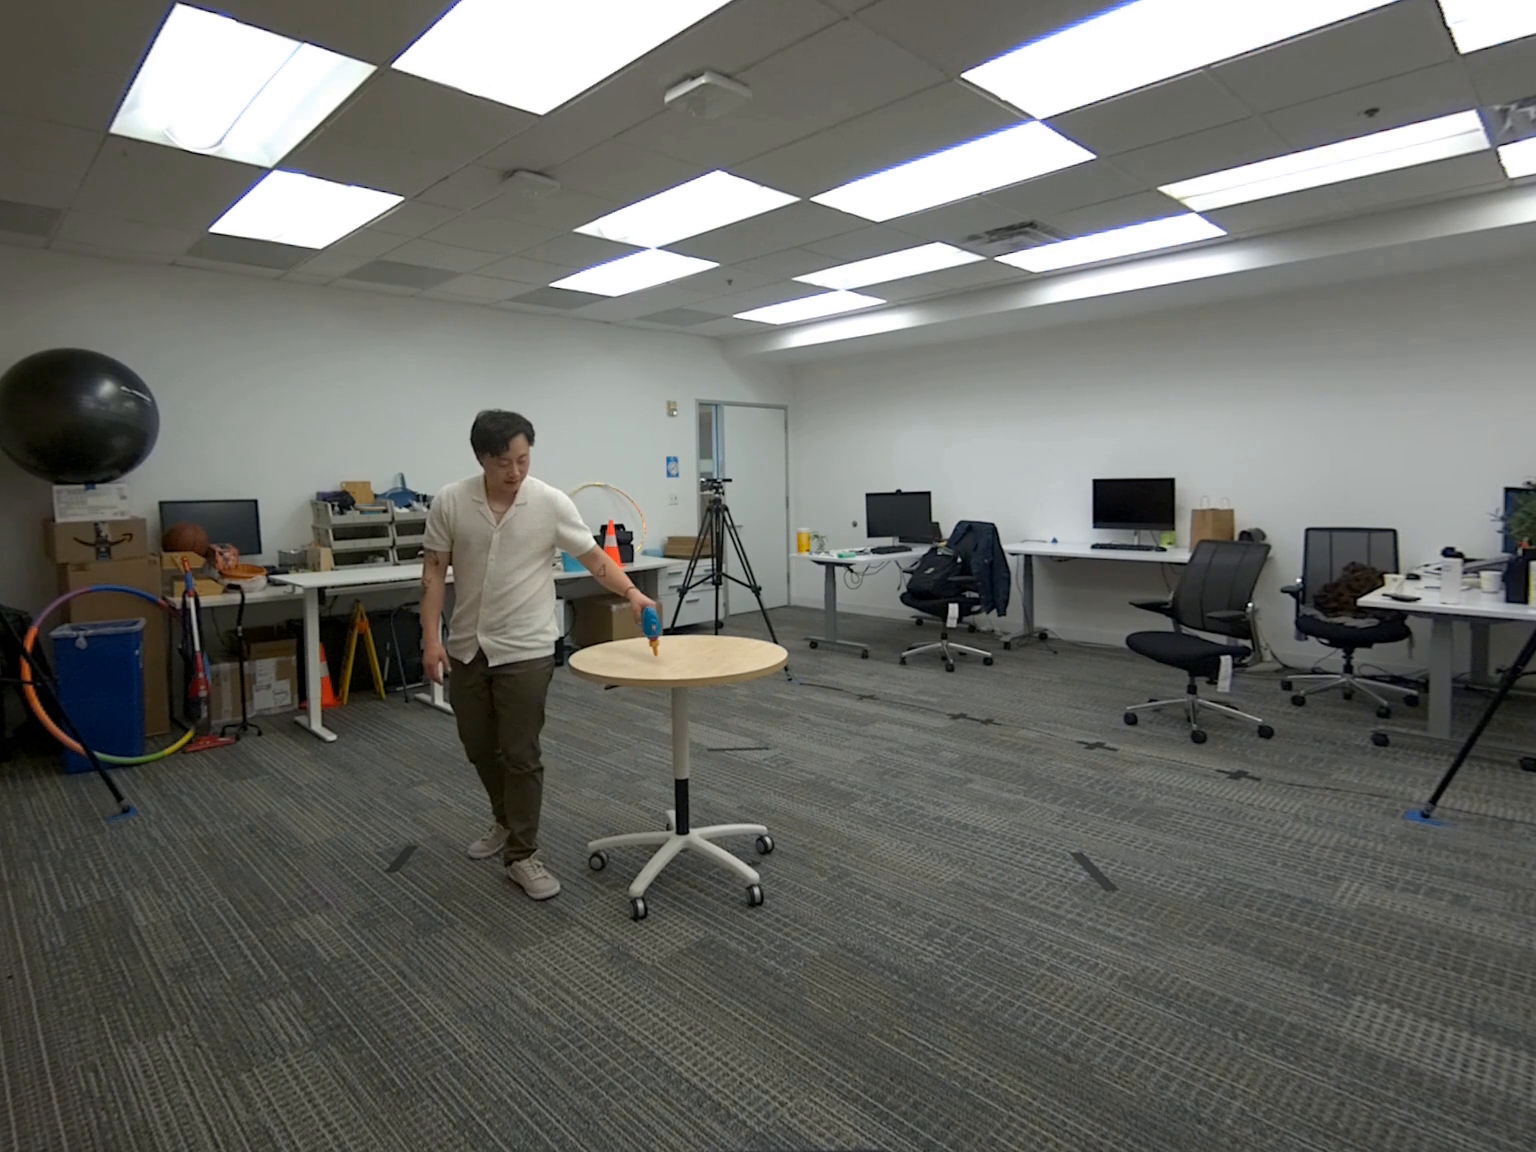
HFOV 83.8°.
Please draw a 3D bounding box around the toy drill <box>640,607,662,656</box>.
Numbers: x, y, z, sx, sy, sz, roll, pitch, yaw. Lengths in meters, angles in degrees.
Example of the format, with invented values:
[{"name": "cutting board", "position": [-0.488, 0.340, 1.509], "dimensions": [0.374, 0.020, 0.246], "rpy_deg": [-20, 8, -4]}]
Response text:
[{"name": "toy drill", "position": [-0.396, 0.177, 2.874], "dimensions": [0.060, 0.169, 0.149], "rpy_deg": [-13, 5, -21]}]
